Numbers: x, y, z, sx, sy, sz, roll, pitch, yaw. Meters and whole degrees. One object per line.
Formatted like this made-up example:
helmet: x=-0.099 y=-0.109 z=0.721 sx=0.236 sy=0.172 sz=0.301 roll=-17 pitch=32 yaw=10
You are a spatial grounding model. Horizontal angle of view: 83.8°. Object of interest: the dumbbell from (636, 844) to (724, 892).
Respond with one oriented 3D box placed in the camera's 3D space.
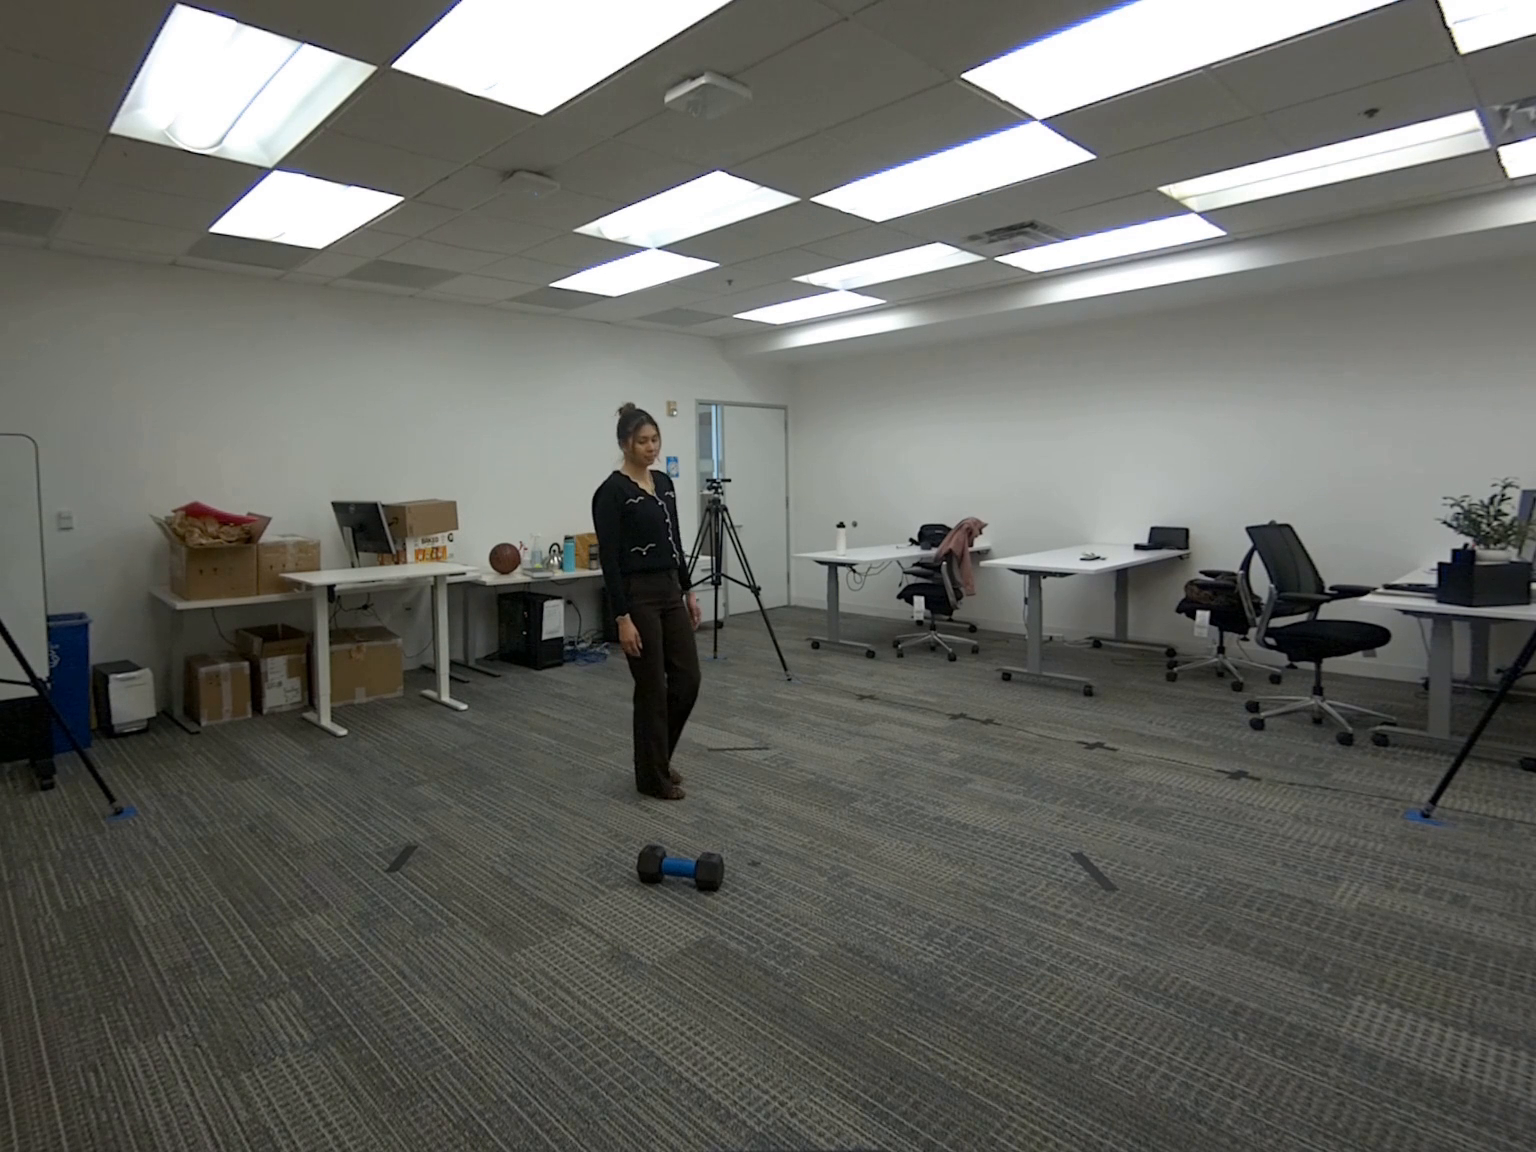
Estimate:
dumbbell: x=-0.301 y=1.011 z=2.958 sx=0.298 sy=0.125 sz=0.105 roll=1 pitch=-25 yaw=16
